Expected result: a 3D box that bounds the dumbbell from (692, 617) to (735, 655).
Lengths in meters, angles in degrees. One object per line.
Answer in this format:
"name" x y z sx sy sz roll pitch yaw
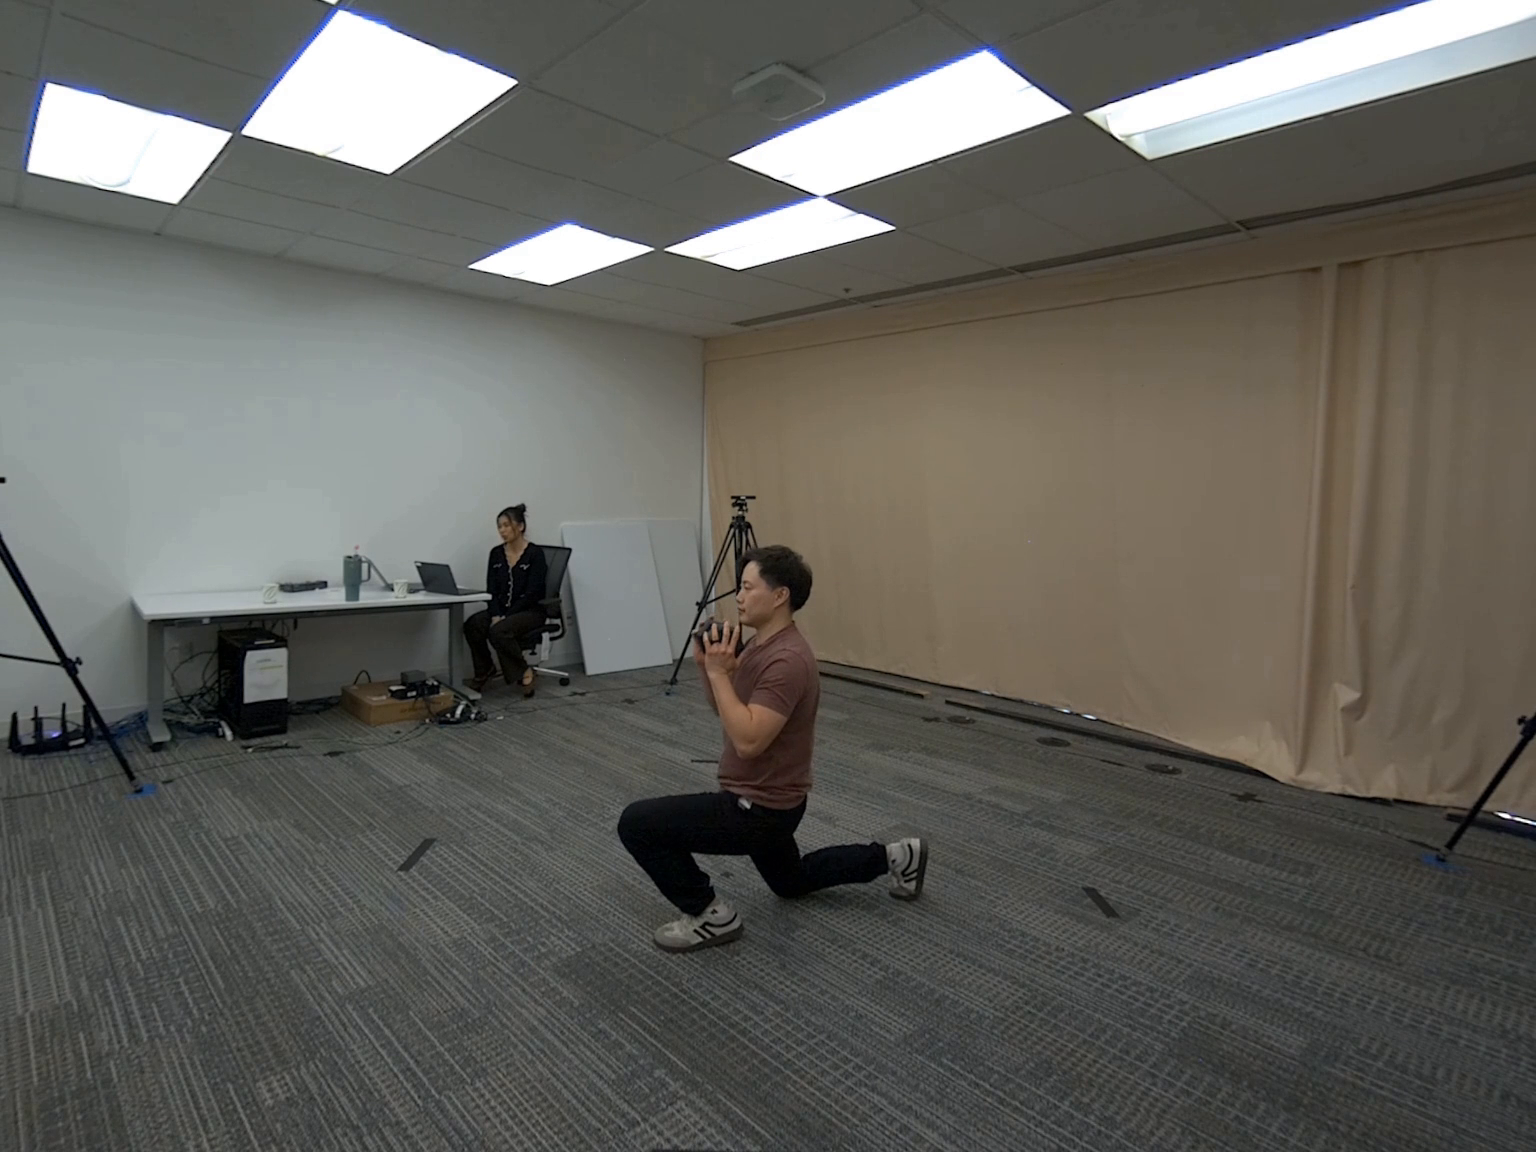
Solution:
"dumbbell" -0.144 0.199 2.660 0.122 0.109 0.295 15 -7 -11
